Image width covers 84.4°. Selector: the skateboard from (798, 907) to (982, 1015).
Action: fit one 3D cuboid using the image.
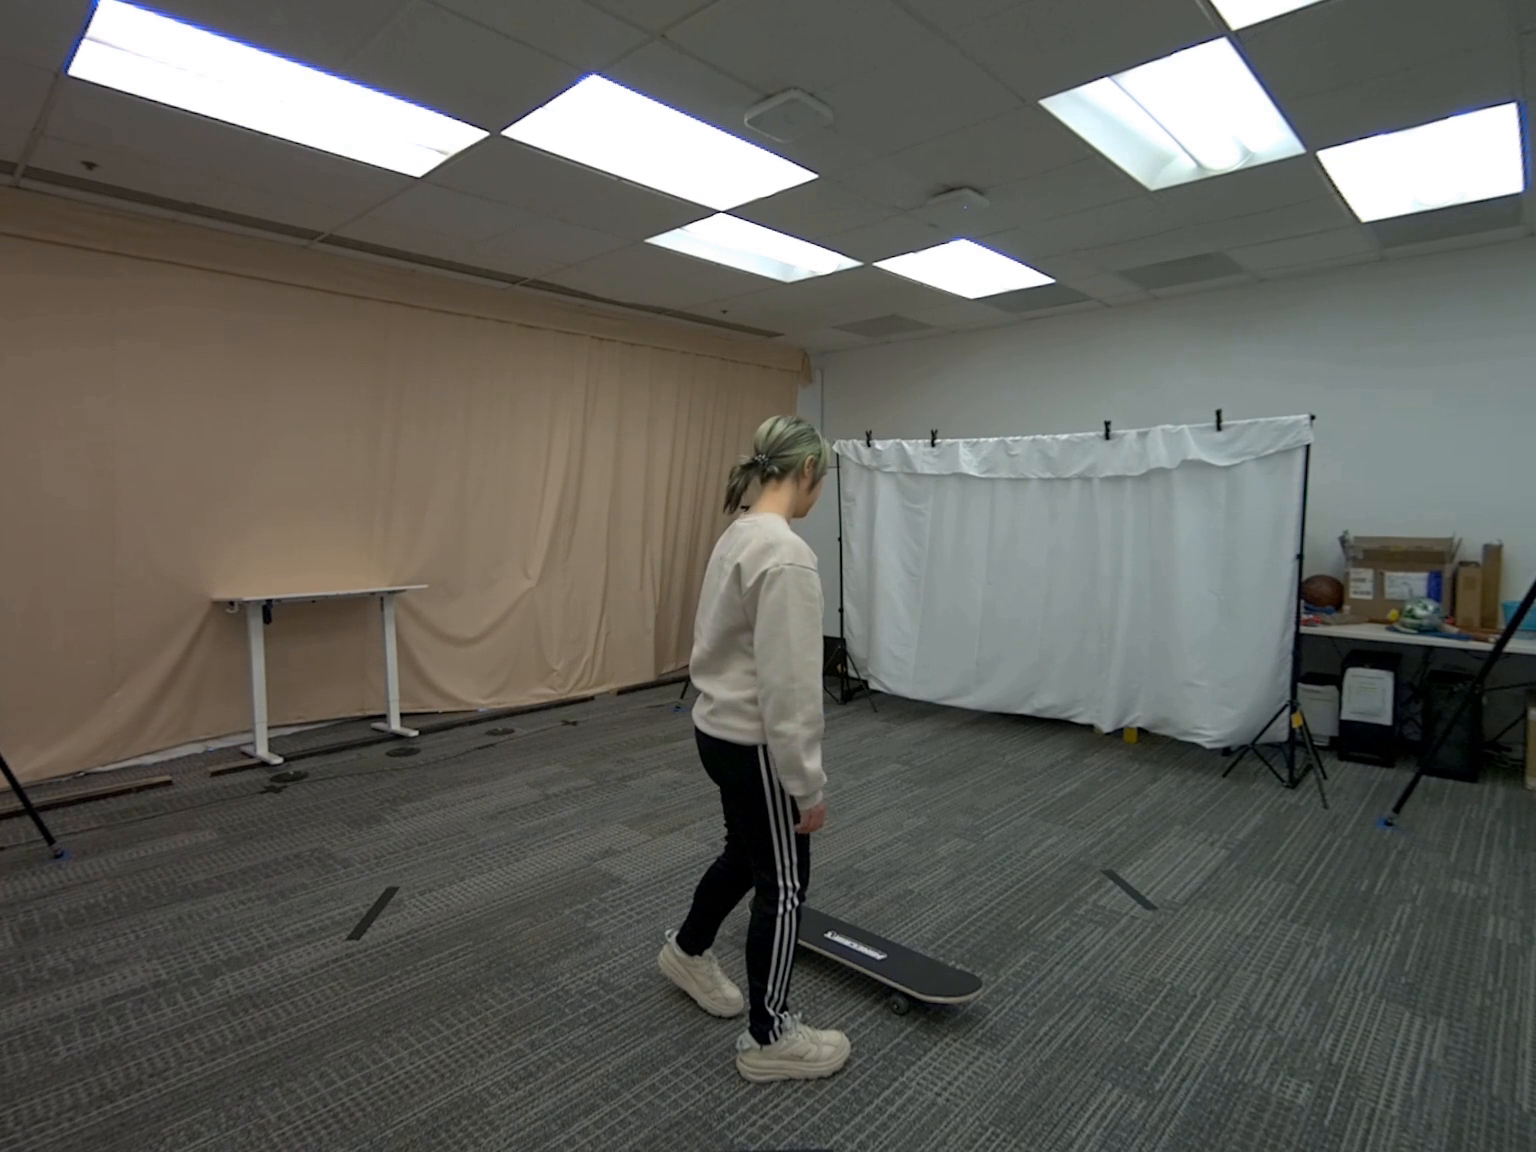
[{"bbox_3d":[0.264,1.127,2.501,0.812,0.110,0.187,4,5,41],"label":"skateboard"}]
